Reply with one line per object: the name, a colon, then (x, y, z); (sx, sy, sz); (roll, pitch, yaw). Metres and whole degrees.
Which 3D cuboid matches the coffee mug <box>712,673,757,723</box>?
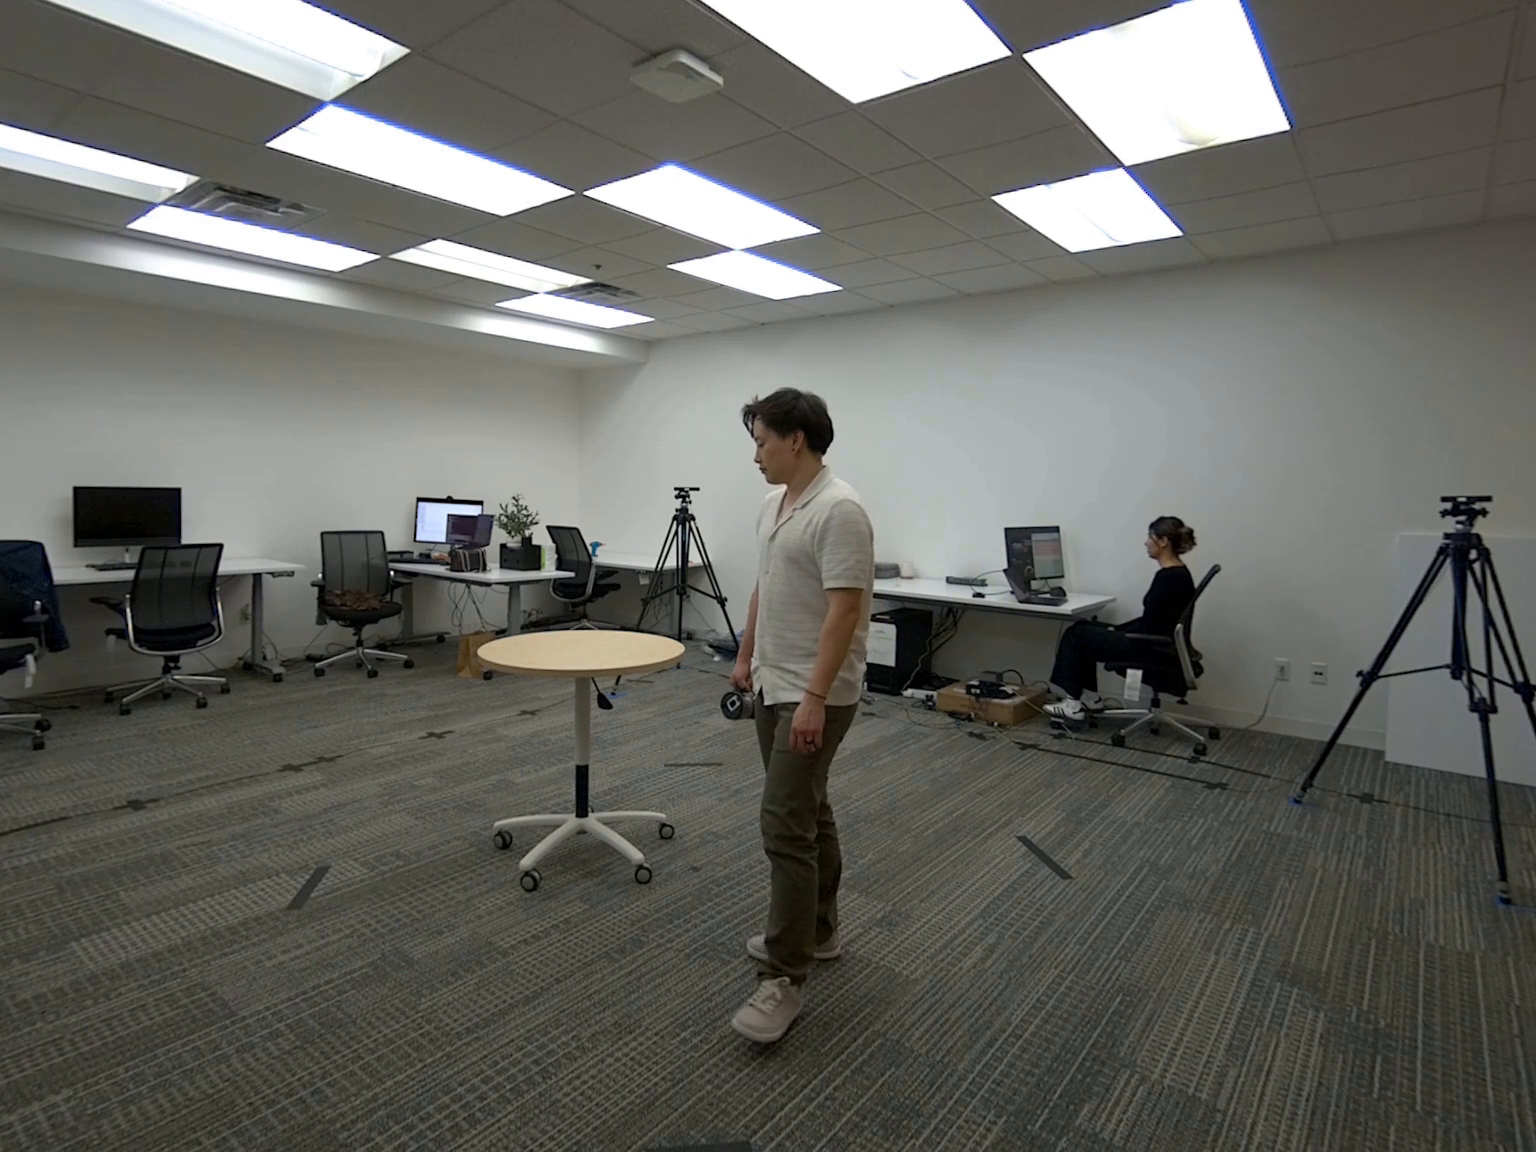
coffee mug: (-0.065, 0.398, 2.733); (0.091, 0.121, 0.195); (27, 7, 40)
